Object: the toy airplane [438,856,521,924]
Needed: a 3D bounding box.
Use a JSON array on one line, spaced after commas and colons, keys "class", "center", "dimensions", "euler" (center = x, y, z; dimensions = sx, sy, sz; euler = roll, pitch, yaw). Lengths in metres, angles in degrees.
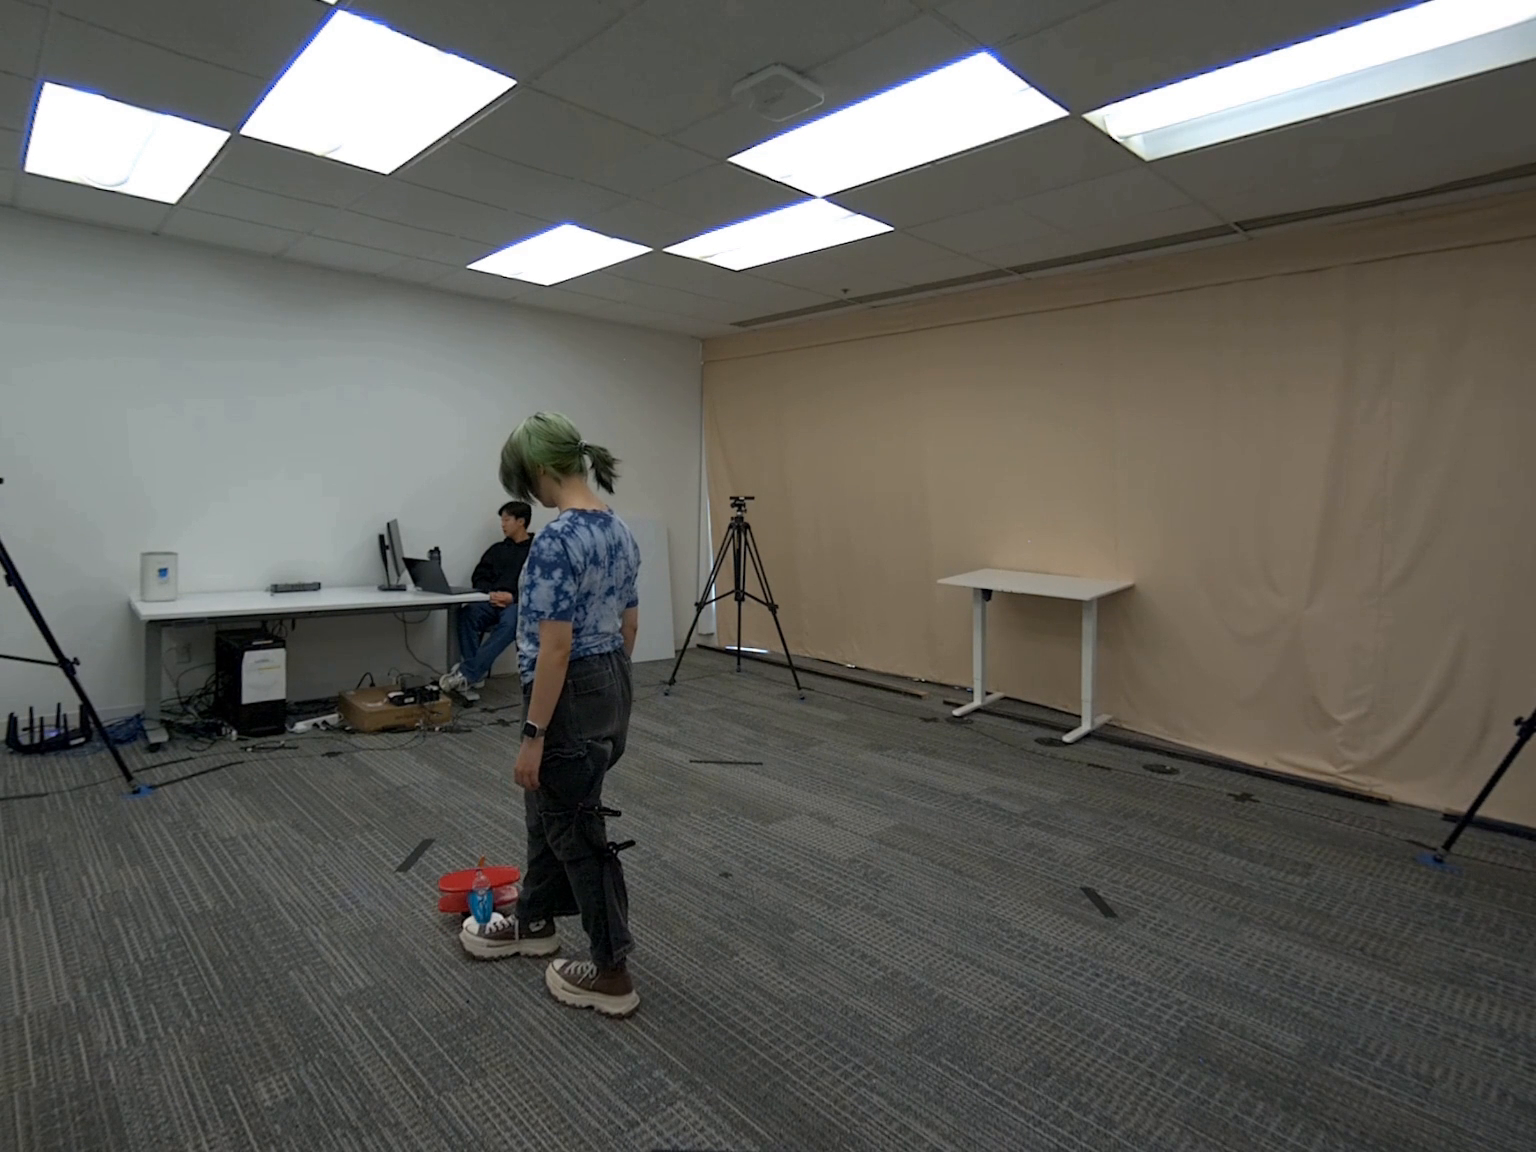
[{"class": "toy airplane", "center": [-0.918, 1.050, 2.719], "dimensions": [0.265, 0.156, 0.245], "euler": [3, 3, 39]}]
